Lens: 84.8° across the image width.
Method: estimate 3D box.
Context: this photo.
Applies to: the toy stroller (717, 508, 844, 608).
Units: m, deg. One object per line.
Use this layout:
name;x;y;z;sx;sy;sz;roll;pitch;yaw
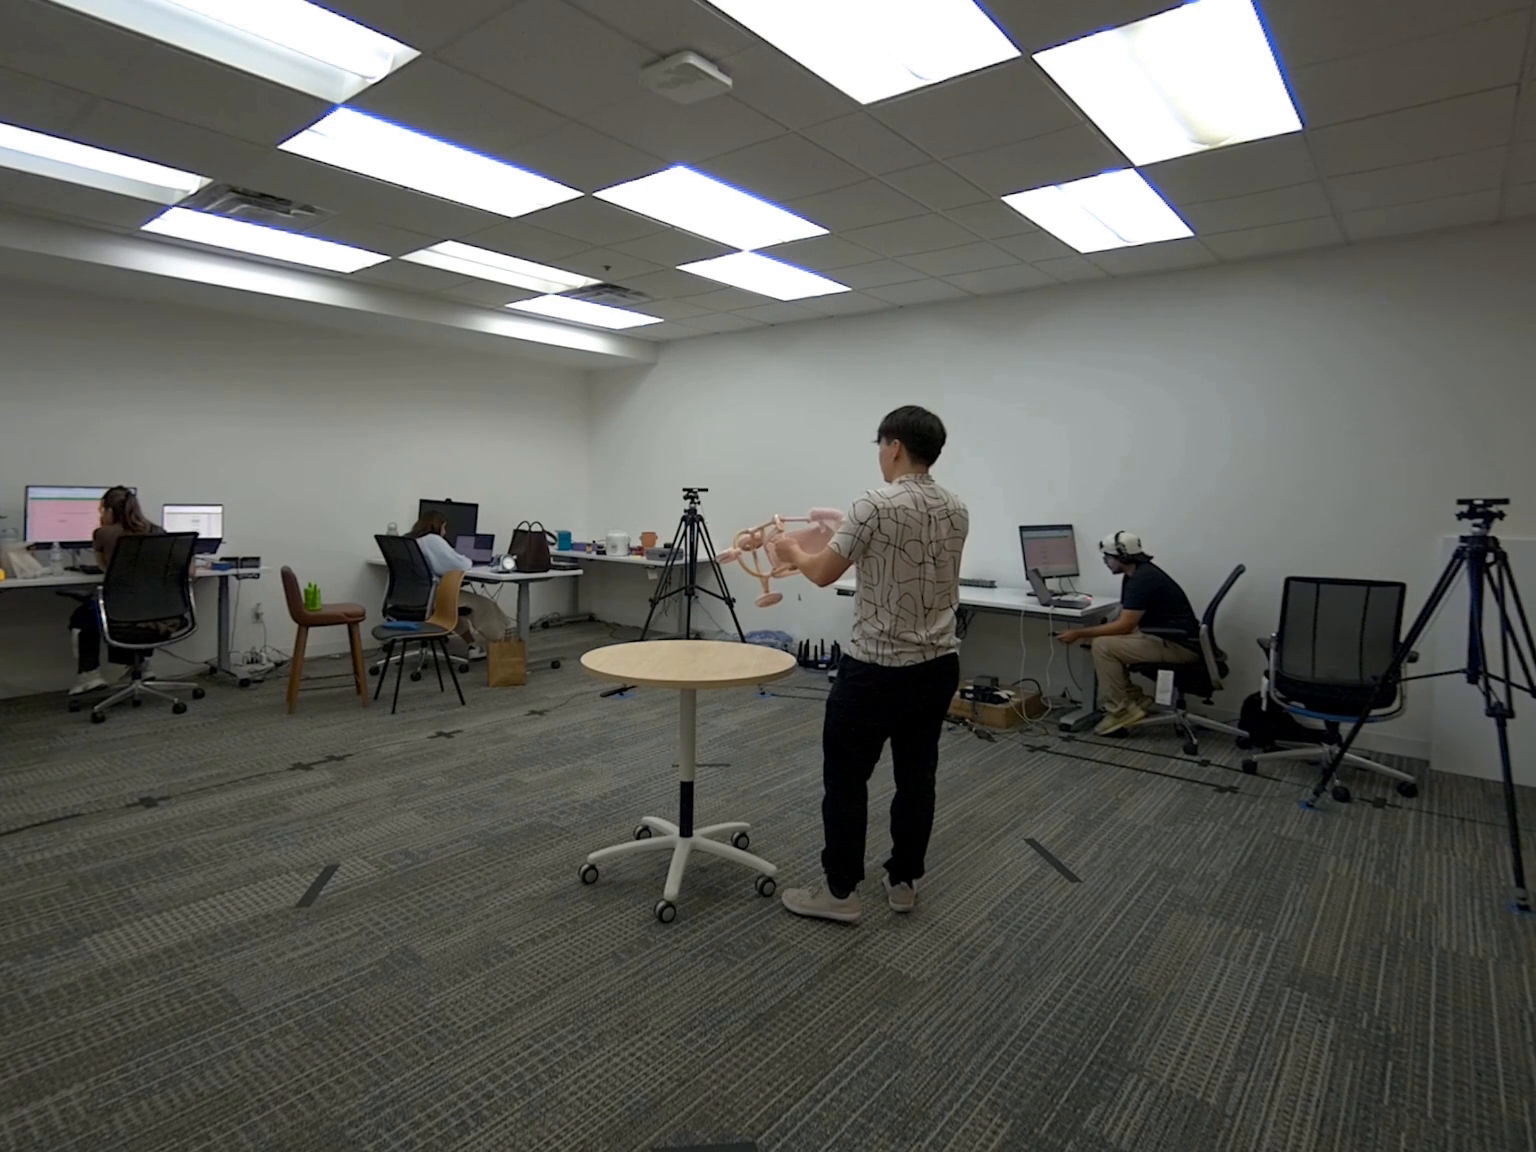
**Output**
toy stroller;0.074;-0.109;3.193;0.538;0.290;0.330;-20;-26;7
